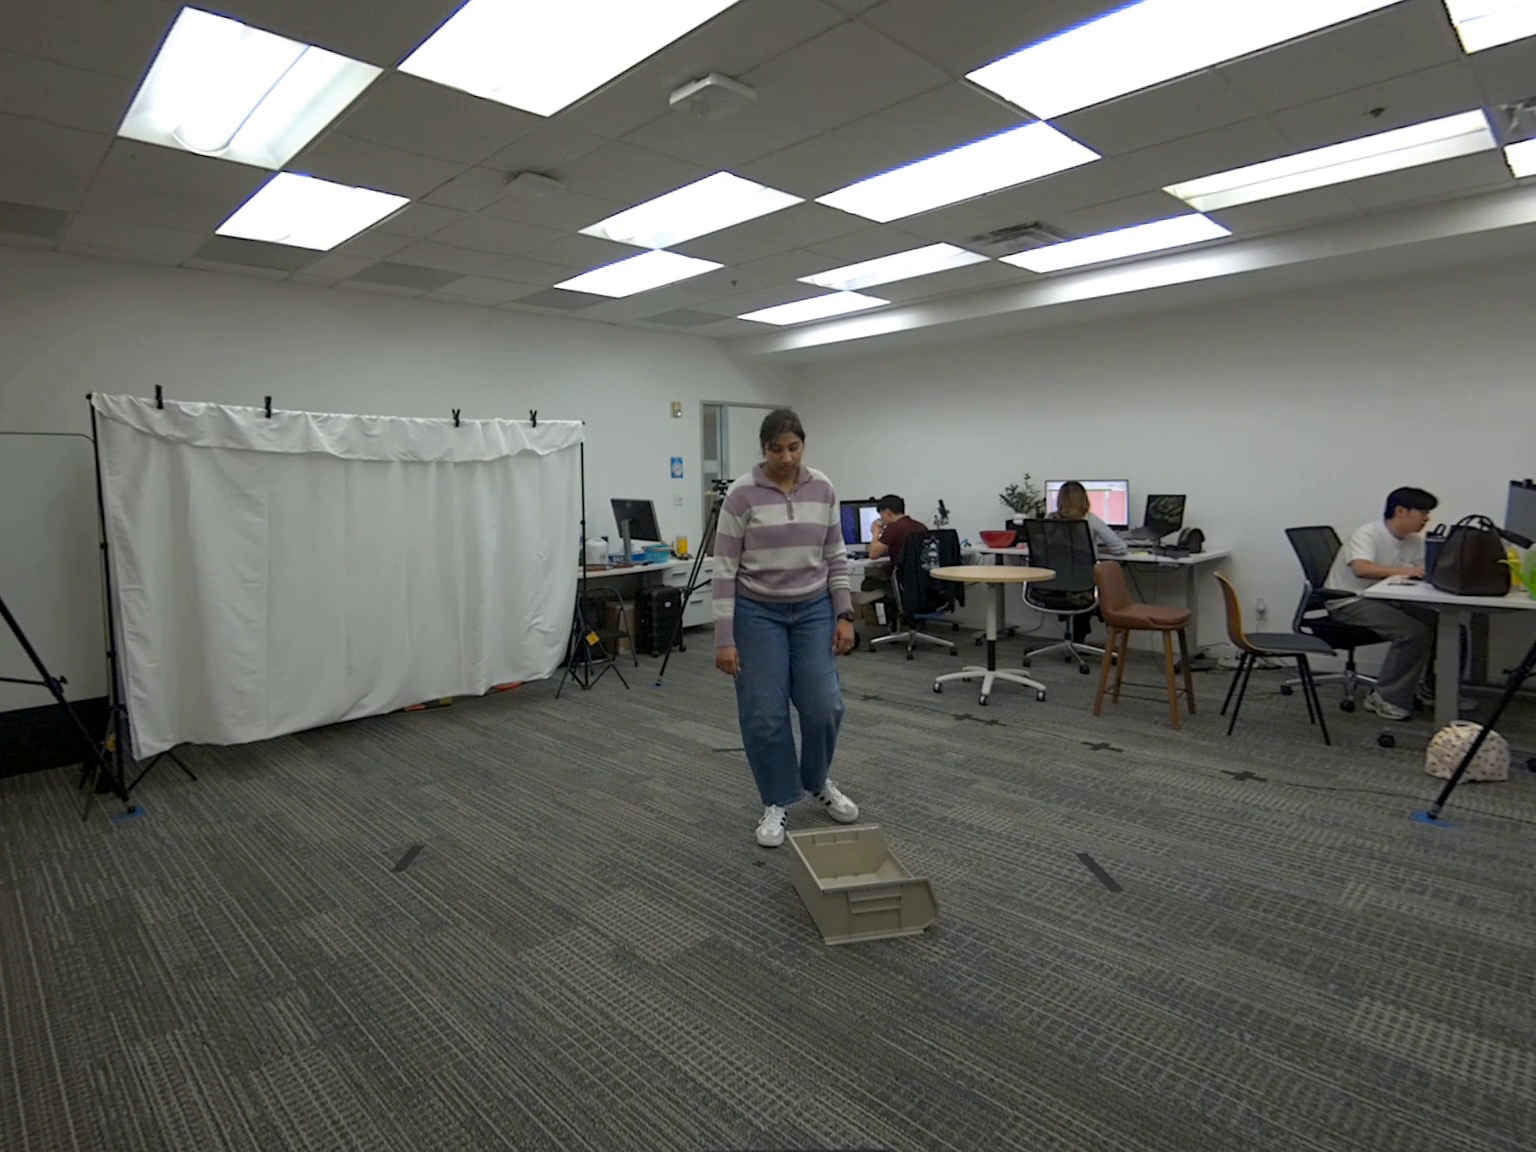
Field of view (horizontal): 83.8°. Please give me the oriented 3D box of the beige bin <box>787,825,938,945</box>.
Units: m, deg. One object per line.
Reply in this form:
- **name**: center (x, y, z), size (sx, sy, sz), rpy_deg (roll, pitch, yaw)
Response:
- **beige bin**: center (0.296, 0.991, 2.781), size (0.373, 0.188, 0.429), rpy_deg (-2, 7, -12)
